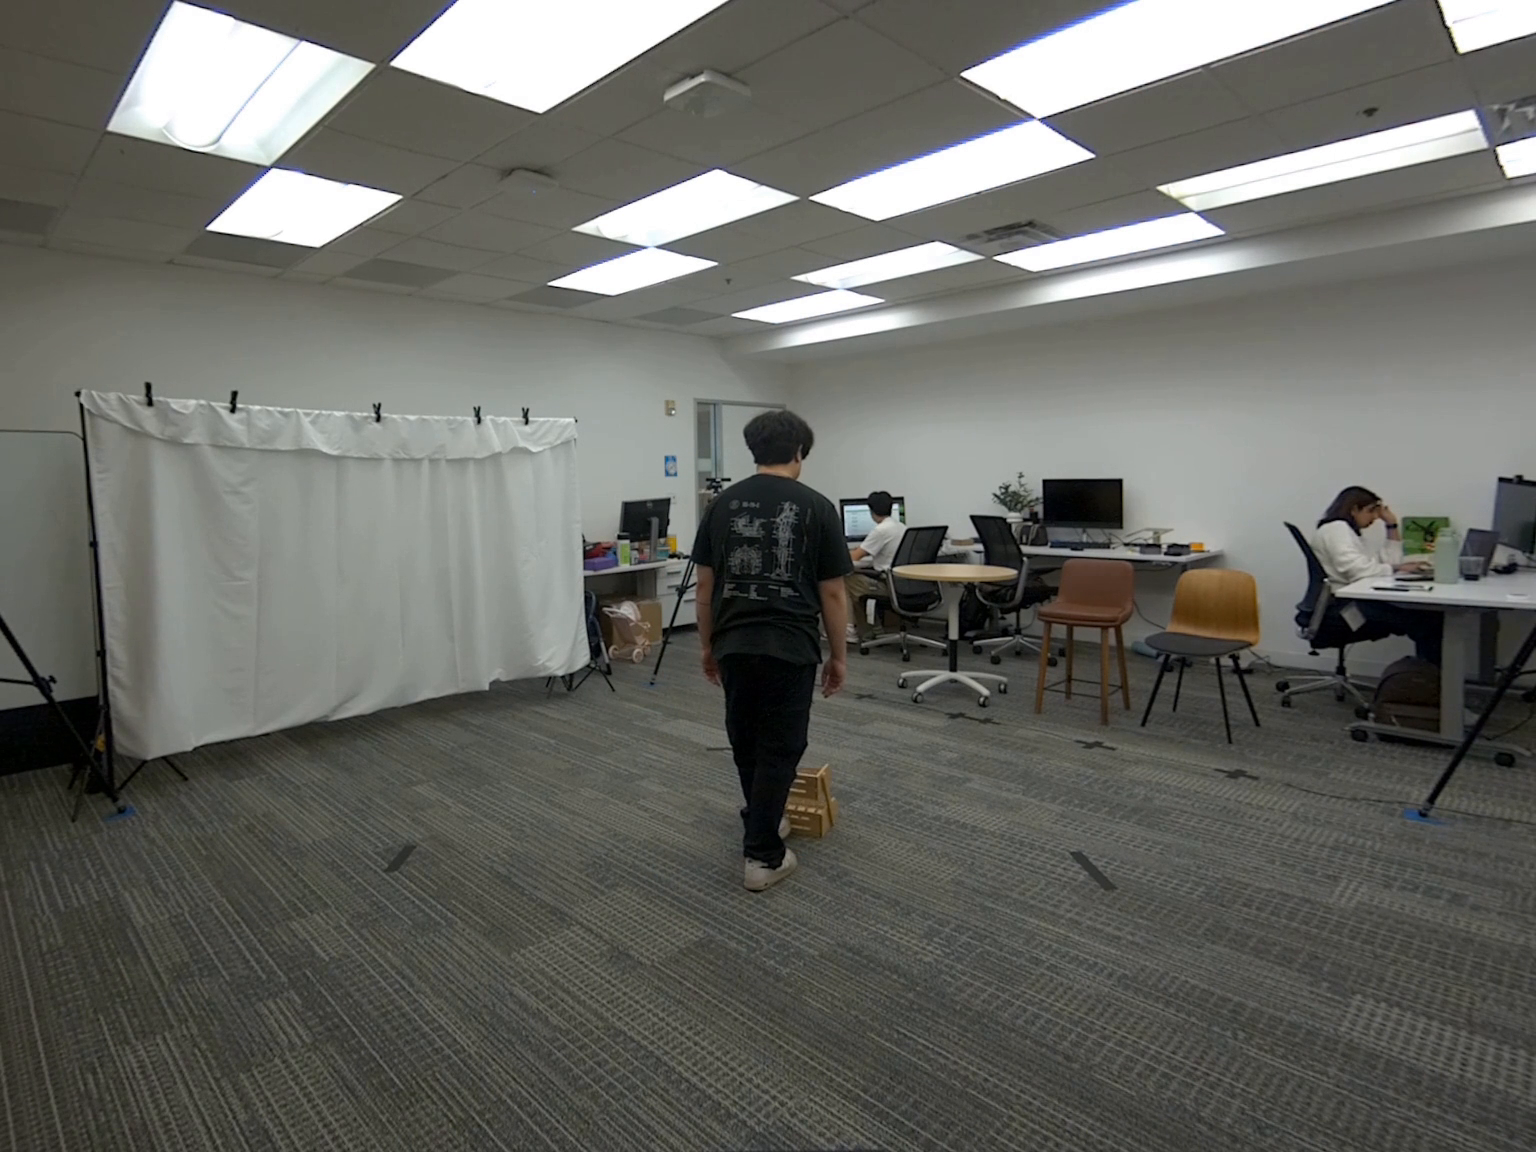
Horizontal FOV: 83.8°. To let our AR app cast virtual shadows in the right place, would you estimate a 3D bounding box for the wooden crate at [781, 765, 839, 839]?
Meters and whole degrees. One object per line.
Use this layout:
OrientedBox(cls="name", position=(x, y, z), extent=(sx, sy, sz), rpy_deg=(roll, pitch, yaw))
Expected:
OrientedBox(cls="wooden crate", position=(0.106, 0.869, 3.458), extent=(0.331, 0.272, 0.297), rpy_deg=(1, 6, 21))
